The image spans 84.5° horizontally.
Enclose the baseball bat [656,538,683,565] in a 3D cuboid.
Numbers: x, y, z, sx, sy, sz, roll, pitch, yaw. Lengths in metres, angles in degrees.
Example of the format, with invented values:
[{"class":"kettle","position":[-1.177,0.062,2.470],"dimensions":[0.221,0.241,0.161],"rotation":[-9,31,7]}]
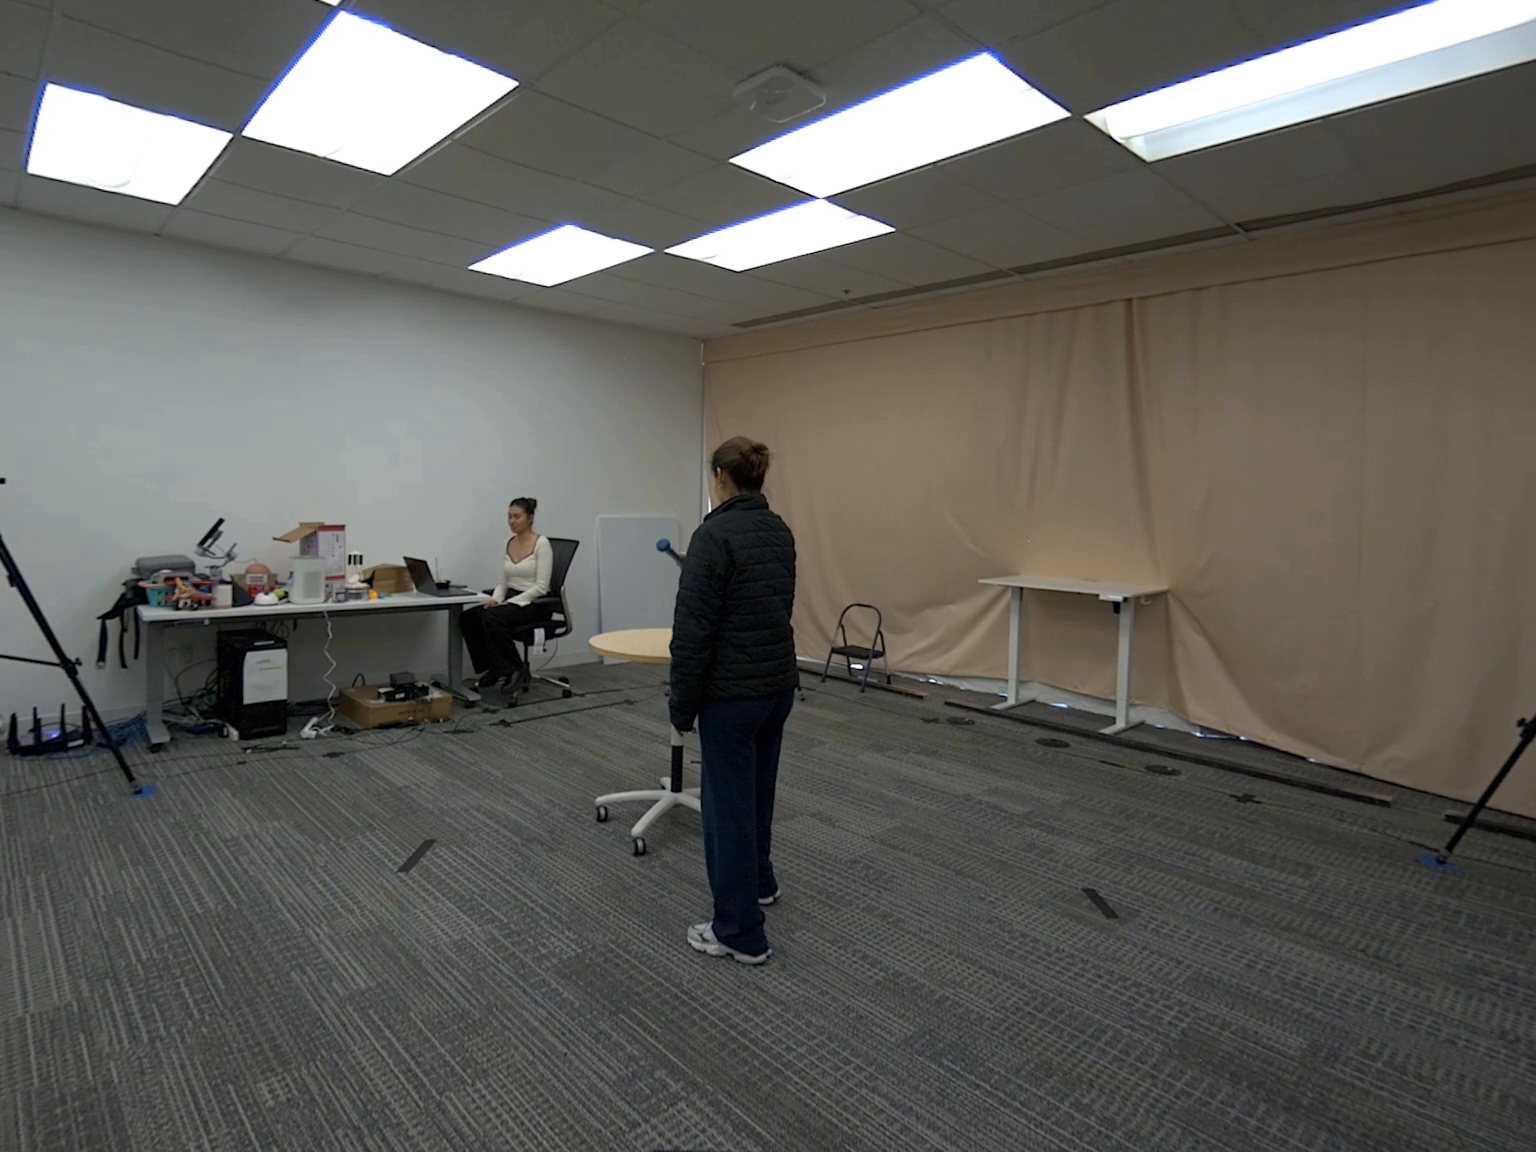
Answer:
[{"class":"baseball bat","position":[-0.305,-0.029,3.184],"dimensions":[0.090,0.090,0.531],"rotation":[3,-15,14]}]
